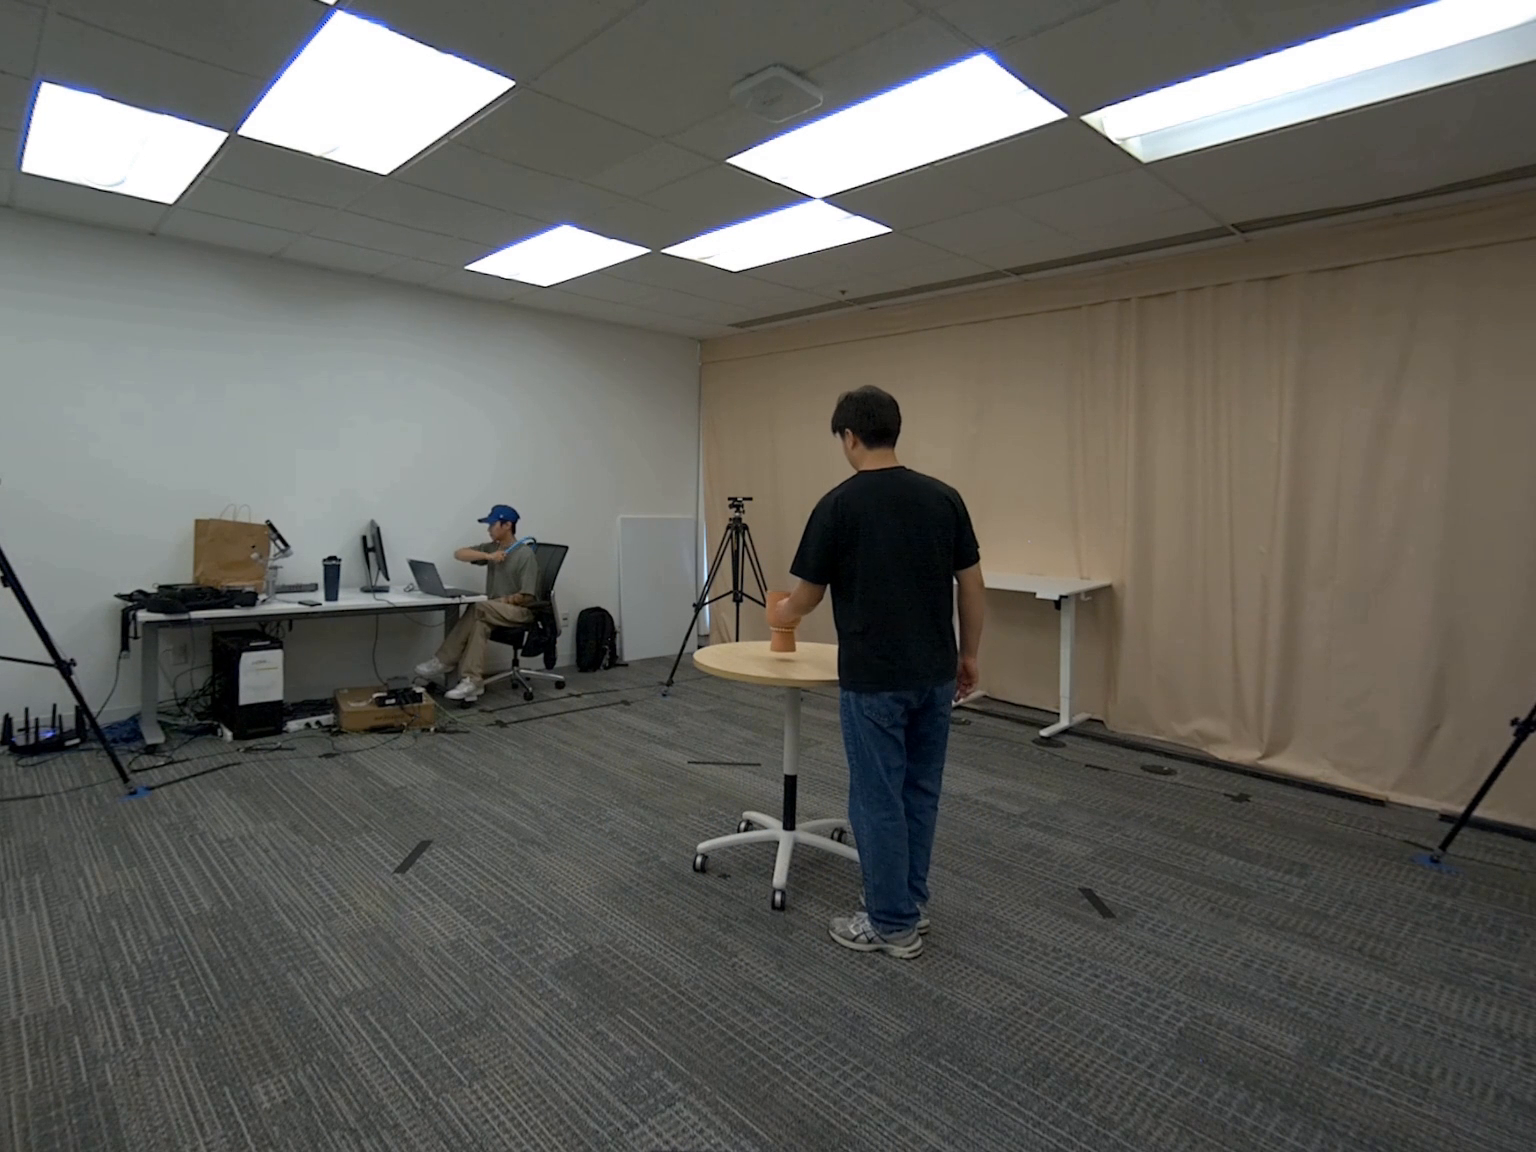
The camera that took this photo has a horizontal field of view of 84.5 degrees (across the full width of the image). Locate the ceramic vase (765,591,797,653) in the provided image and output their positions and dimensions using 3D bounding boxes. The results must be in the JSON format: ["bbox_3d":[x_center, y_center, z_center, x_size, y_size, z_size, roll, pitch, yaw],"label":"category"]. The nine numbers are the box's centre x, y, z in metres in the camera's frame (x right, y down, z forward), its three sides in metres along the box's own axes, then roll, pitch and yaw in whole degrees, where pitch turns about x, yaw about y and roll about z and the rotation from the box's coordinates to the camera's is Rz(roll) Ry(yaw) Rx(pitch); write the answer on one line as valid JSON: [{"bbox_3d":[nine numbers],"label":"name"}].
[{"bbox_3d":[0.044,0.164,3.111,0.138,0.219,0.155,4,3,34],"label":"ceramic vase"}]
